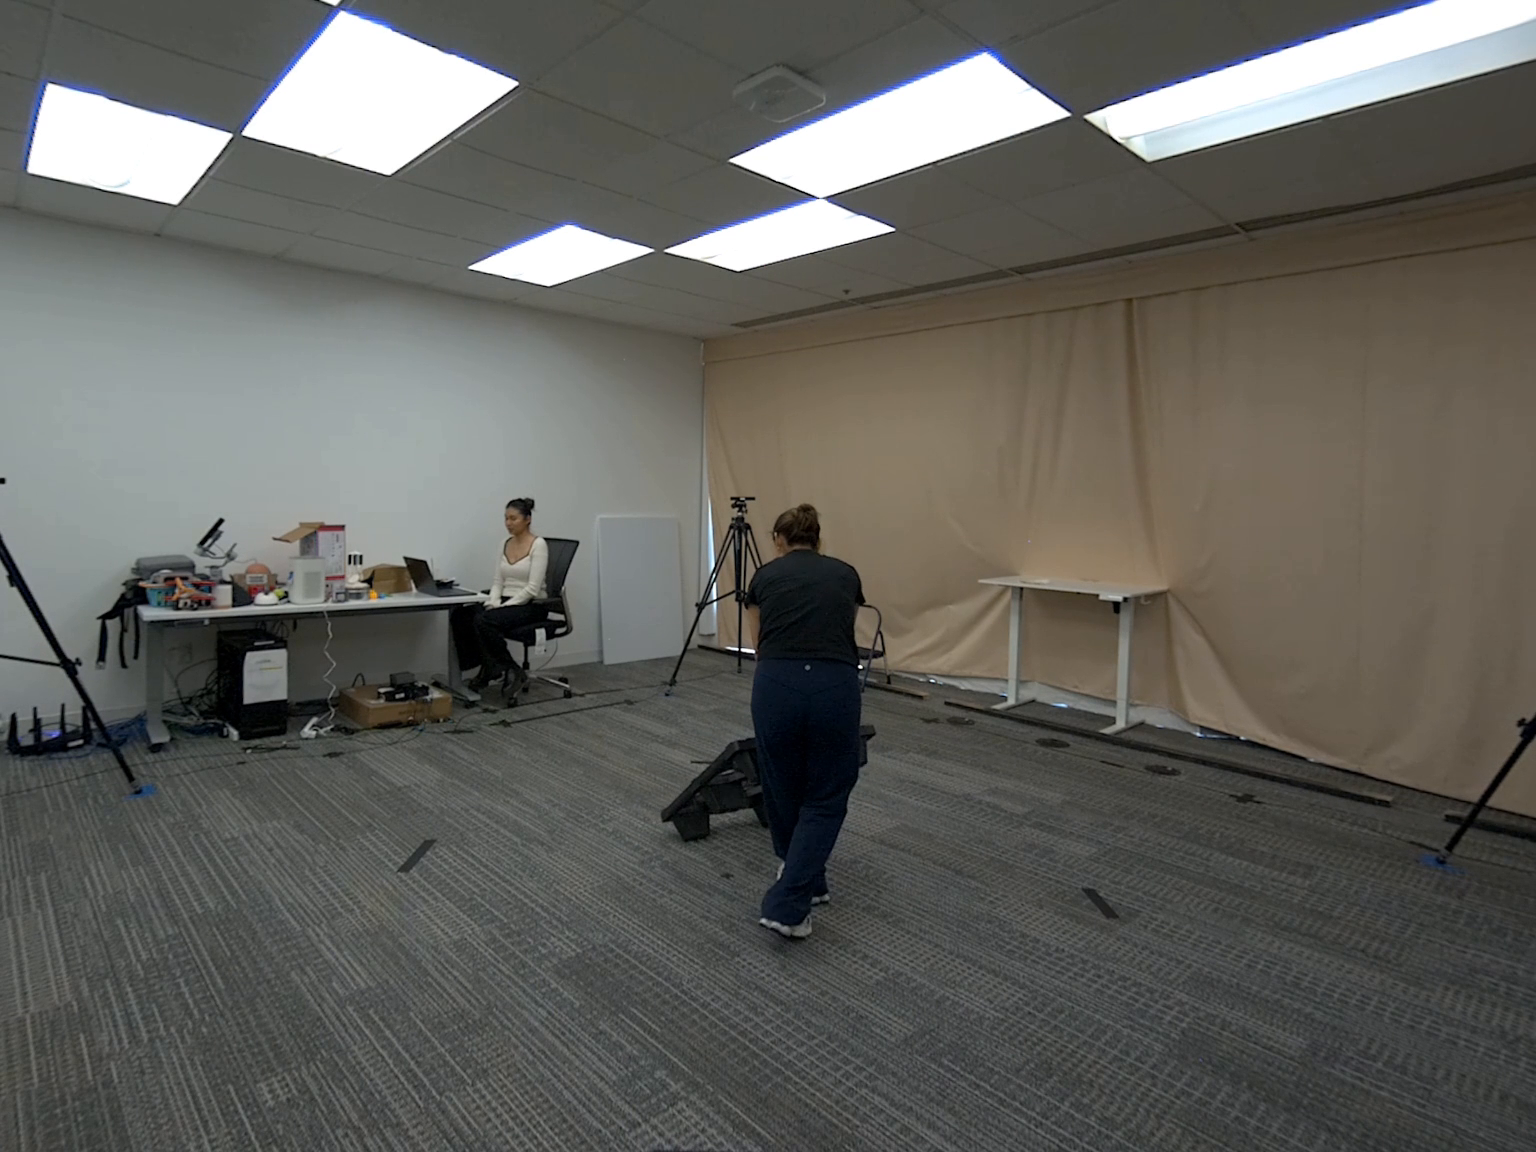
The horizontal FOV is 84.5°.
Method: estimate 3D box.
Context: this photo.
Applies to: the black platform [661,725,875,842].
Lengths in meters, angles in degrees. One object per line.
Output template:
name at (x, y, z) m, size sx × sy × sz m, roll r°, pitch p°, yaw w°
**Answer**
black platform at (-0.011, 0.820, 3.258) m, size 0.593 × 0.147 × 0.802 m, roll -1°, pitch -32°, yaw -29°
